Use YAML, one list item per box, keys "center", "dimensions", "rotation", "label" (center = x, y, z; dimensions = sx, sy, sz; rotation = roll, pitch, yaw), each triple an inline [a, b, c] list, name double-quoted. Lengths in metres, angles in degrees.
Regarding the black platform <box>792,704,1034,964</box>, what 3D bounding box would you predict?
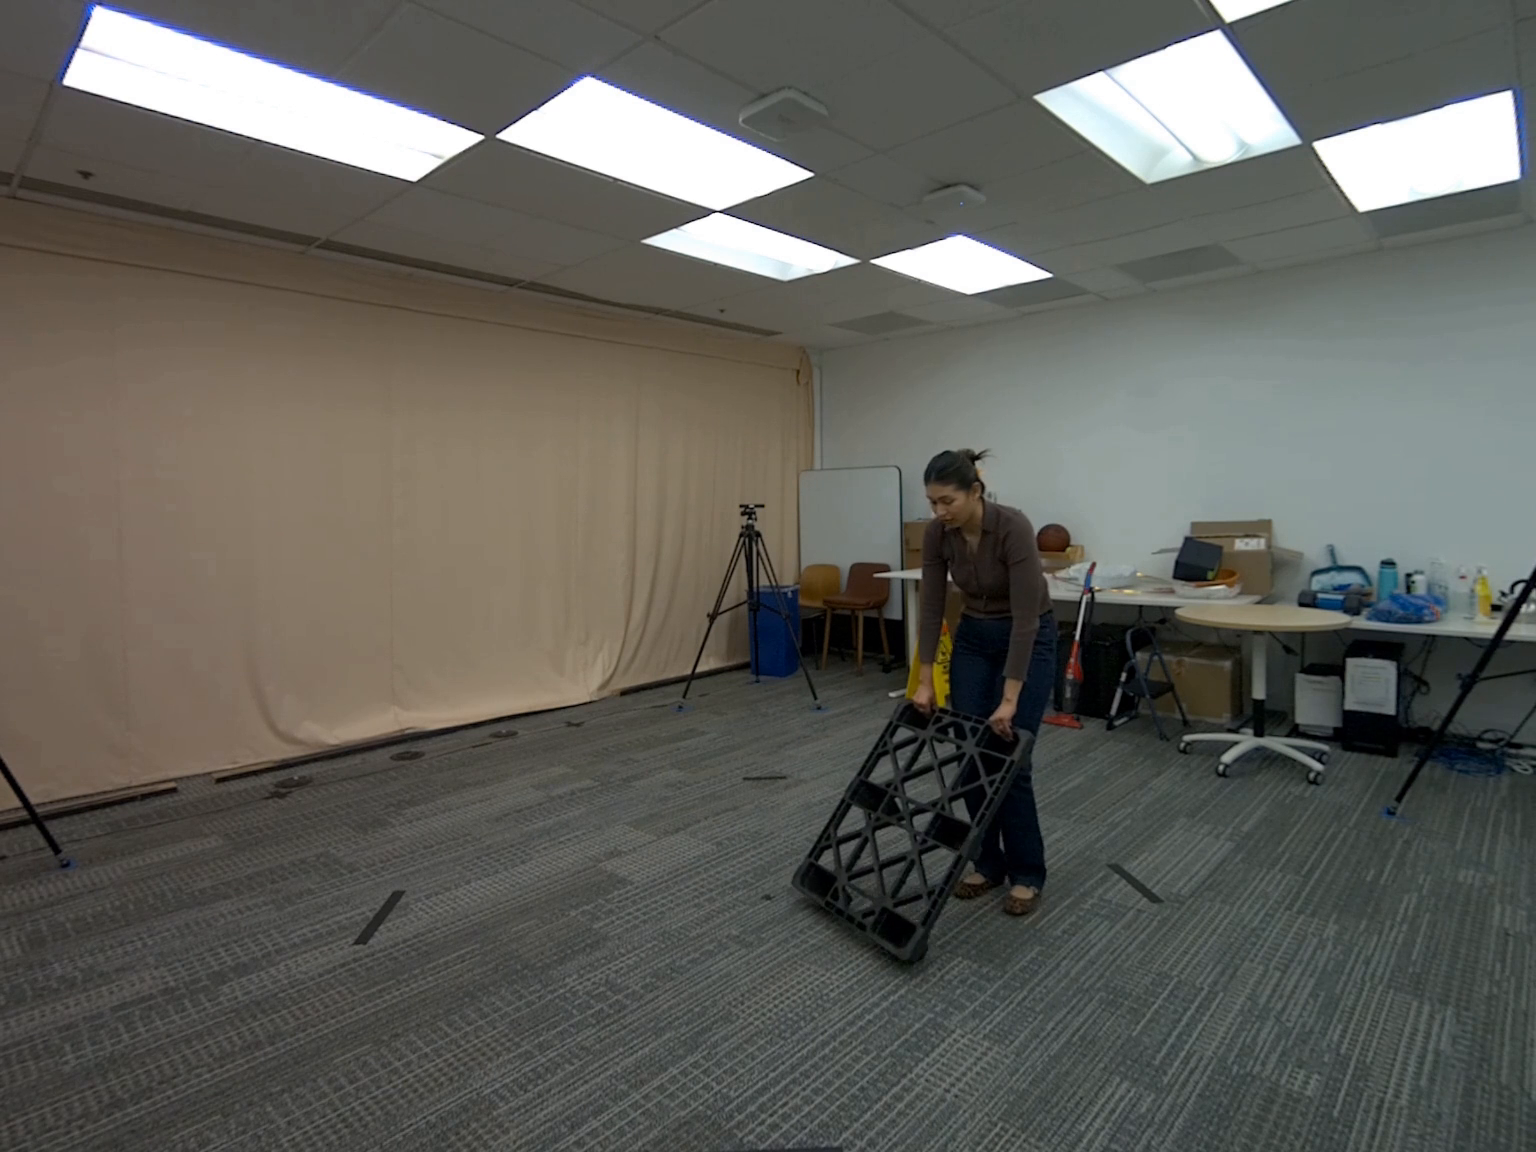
- center: [0.502, 0.824, 2.828]
  dimensions: [0.139, 0.804, 0.624]
  rotation: [44, -18, -28]
  label: "black platform"
